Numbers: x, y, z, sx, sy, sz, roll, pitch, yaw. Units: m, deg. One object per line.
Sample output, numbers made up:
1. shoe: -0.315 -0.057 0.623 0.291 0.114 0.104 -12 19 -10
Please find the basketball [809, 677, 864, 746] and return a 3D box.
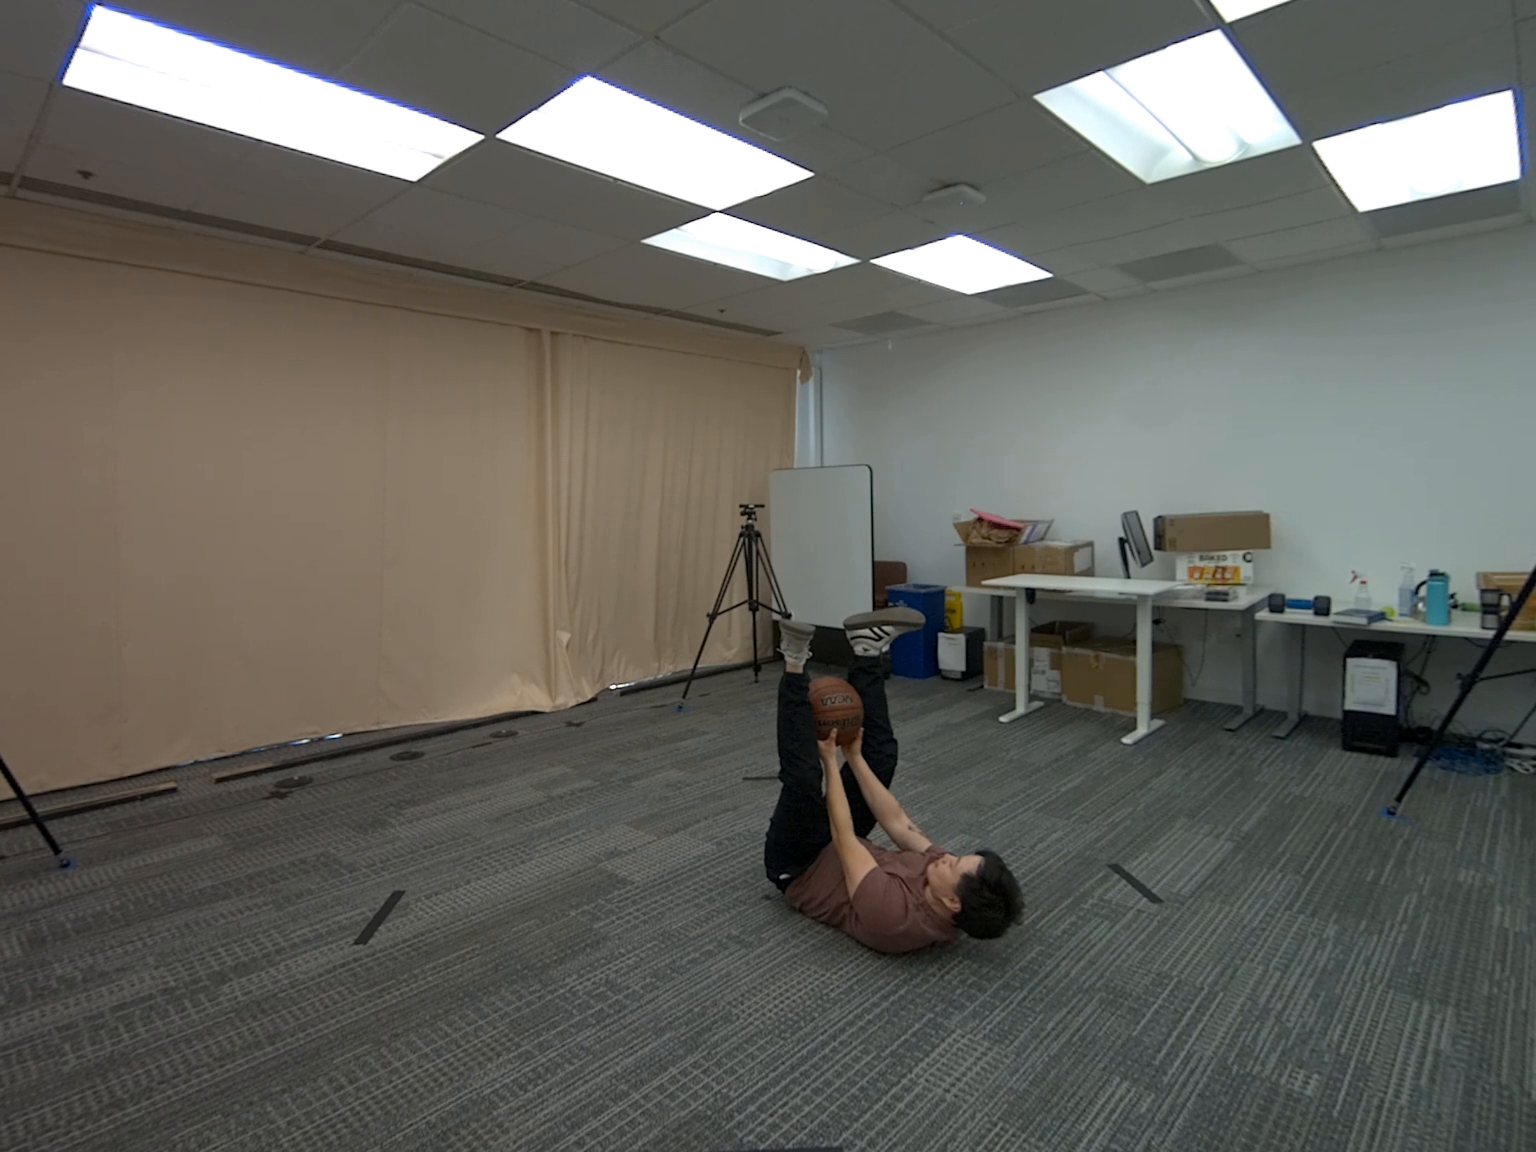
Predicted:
1. basketball: 0.216 0.469 2.896 0.236 0.235 0.236 -1 3 -2
